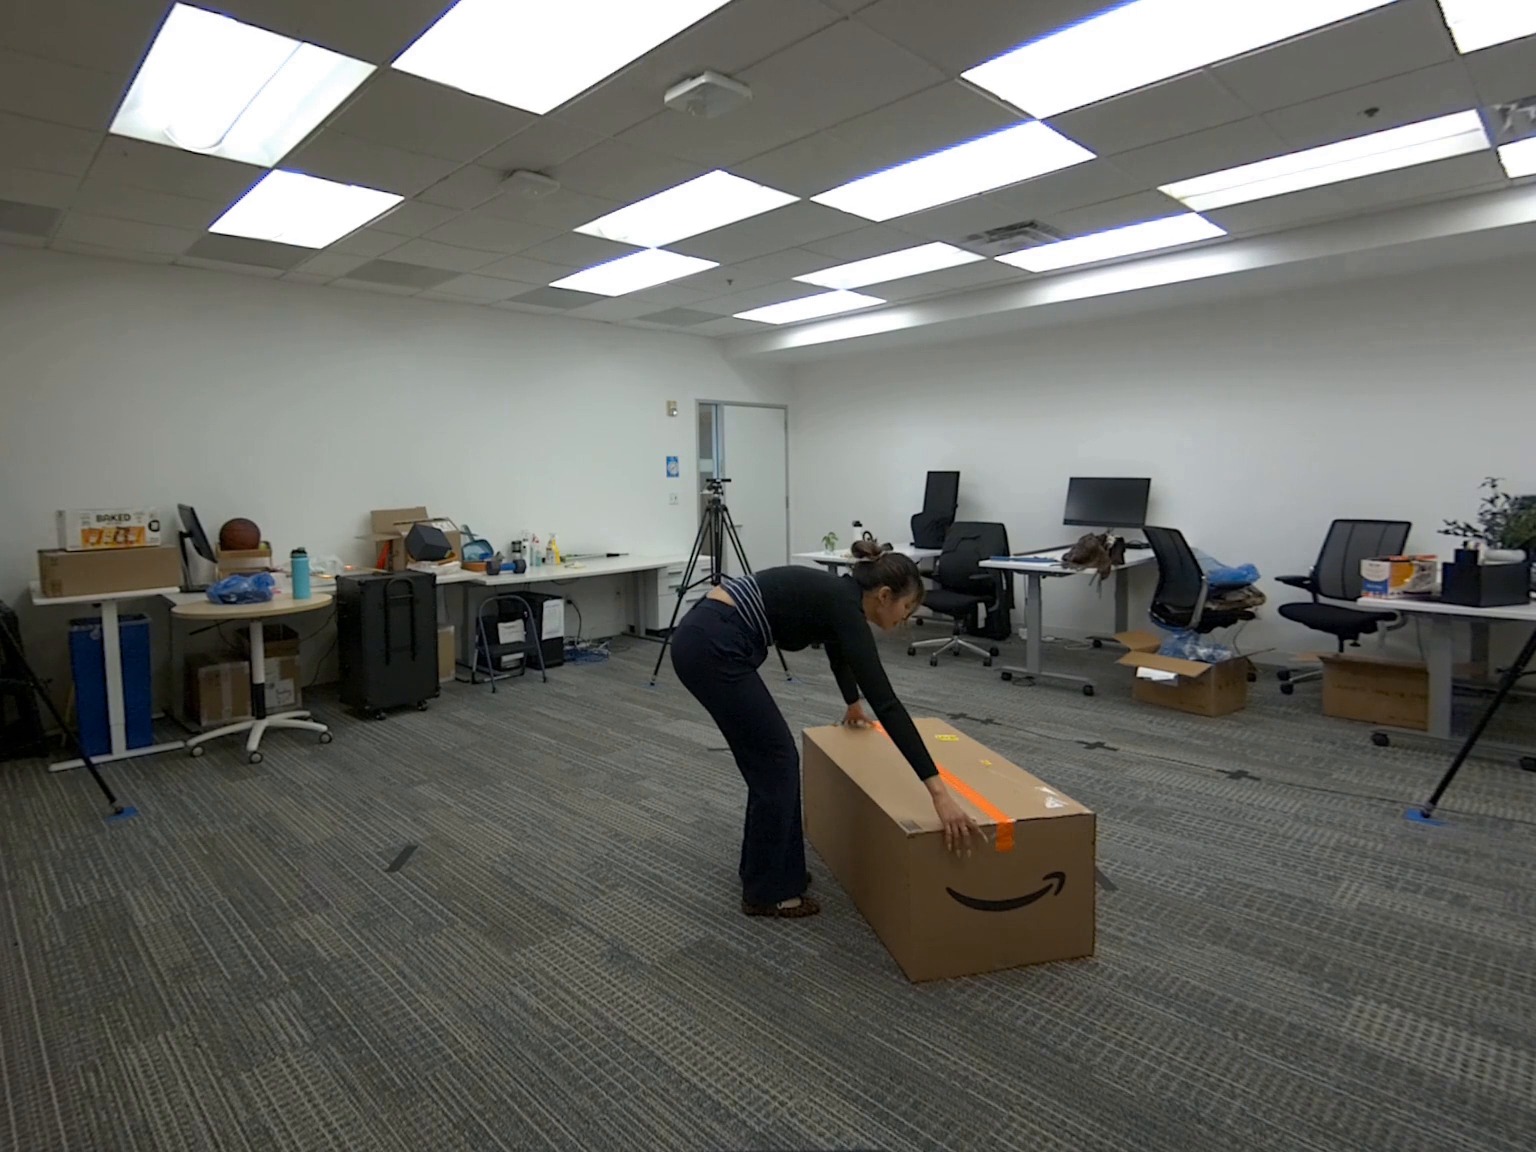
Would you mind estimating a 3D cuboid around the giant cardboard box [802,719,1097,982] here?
[{"bbox_3d":[0.537,0.838,2.898,0.571,0.424,1.043,-2,6,-14],"label":"giant cardboard box"}]
